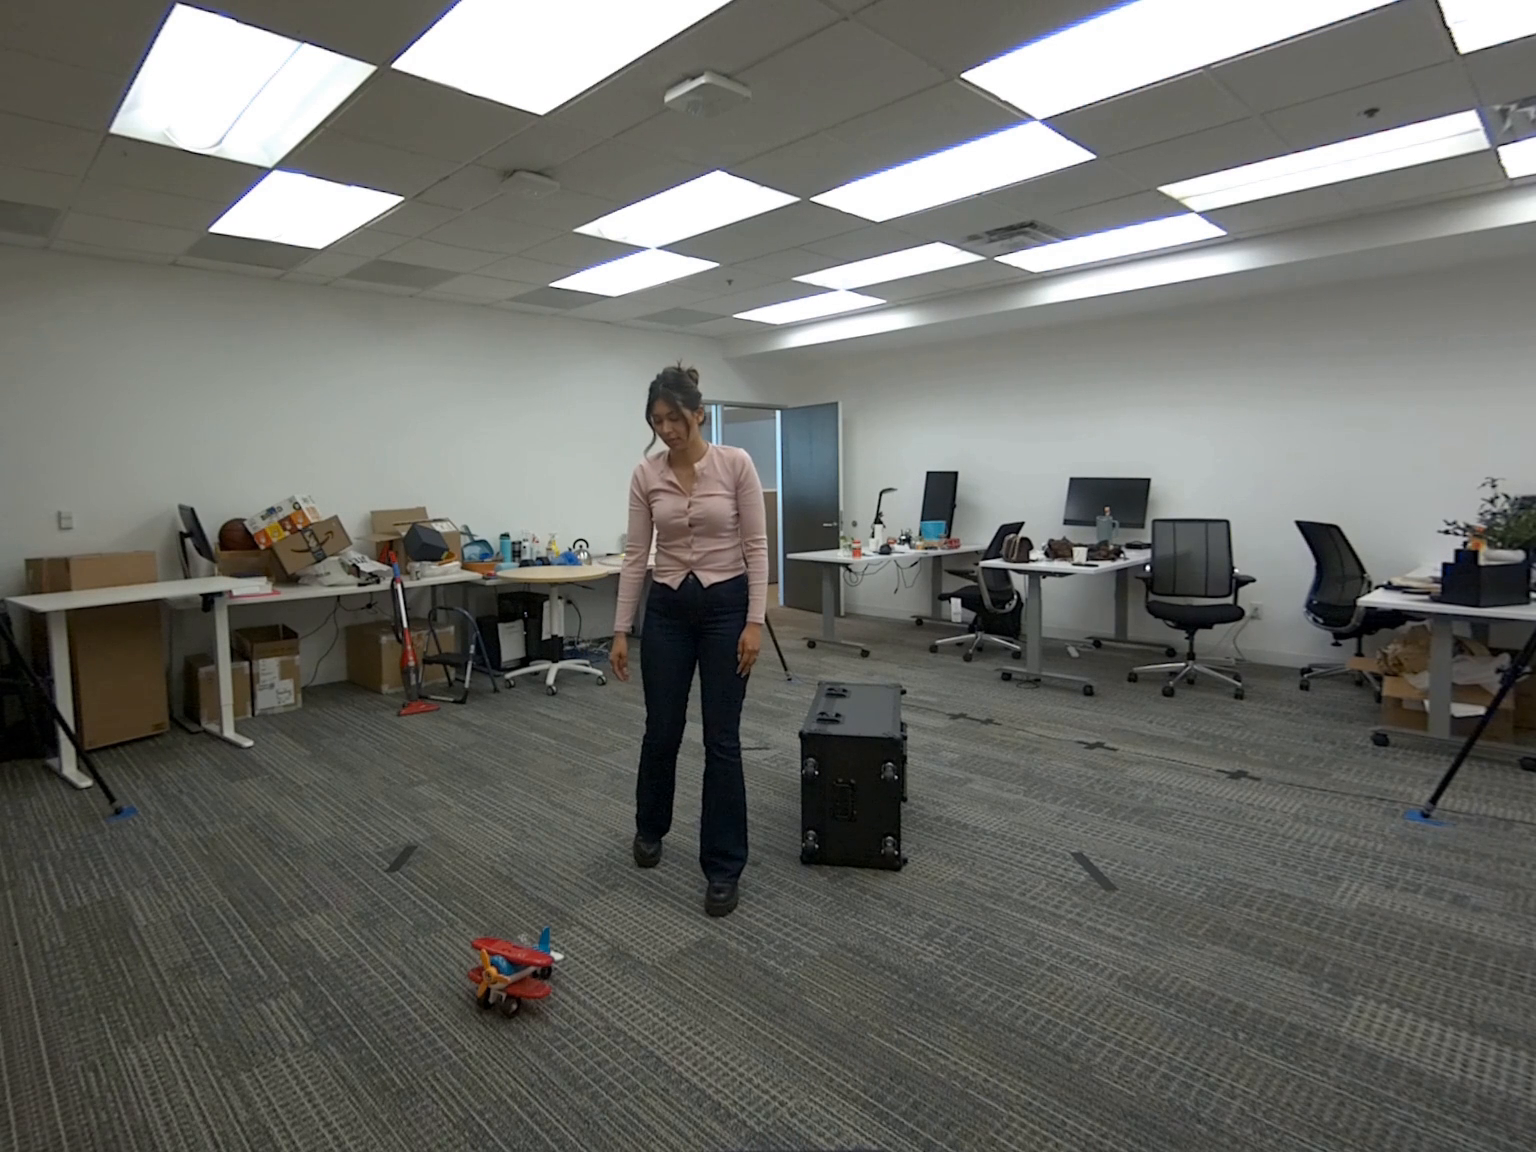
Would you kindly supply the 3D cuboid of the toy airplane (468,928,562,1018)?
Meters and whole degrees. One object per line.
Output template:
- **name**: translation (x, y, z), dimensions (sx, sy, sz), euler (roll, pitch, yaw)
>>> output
- **toy airplane**: translation (-0.697, 1.079, 2.345), dimensions (0.250, 0.155, 0.261), euler (-2, 7, -4)
